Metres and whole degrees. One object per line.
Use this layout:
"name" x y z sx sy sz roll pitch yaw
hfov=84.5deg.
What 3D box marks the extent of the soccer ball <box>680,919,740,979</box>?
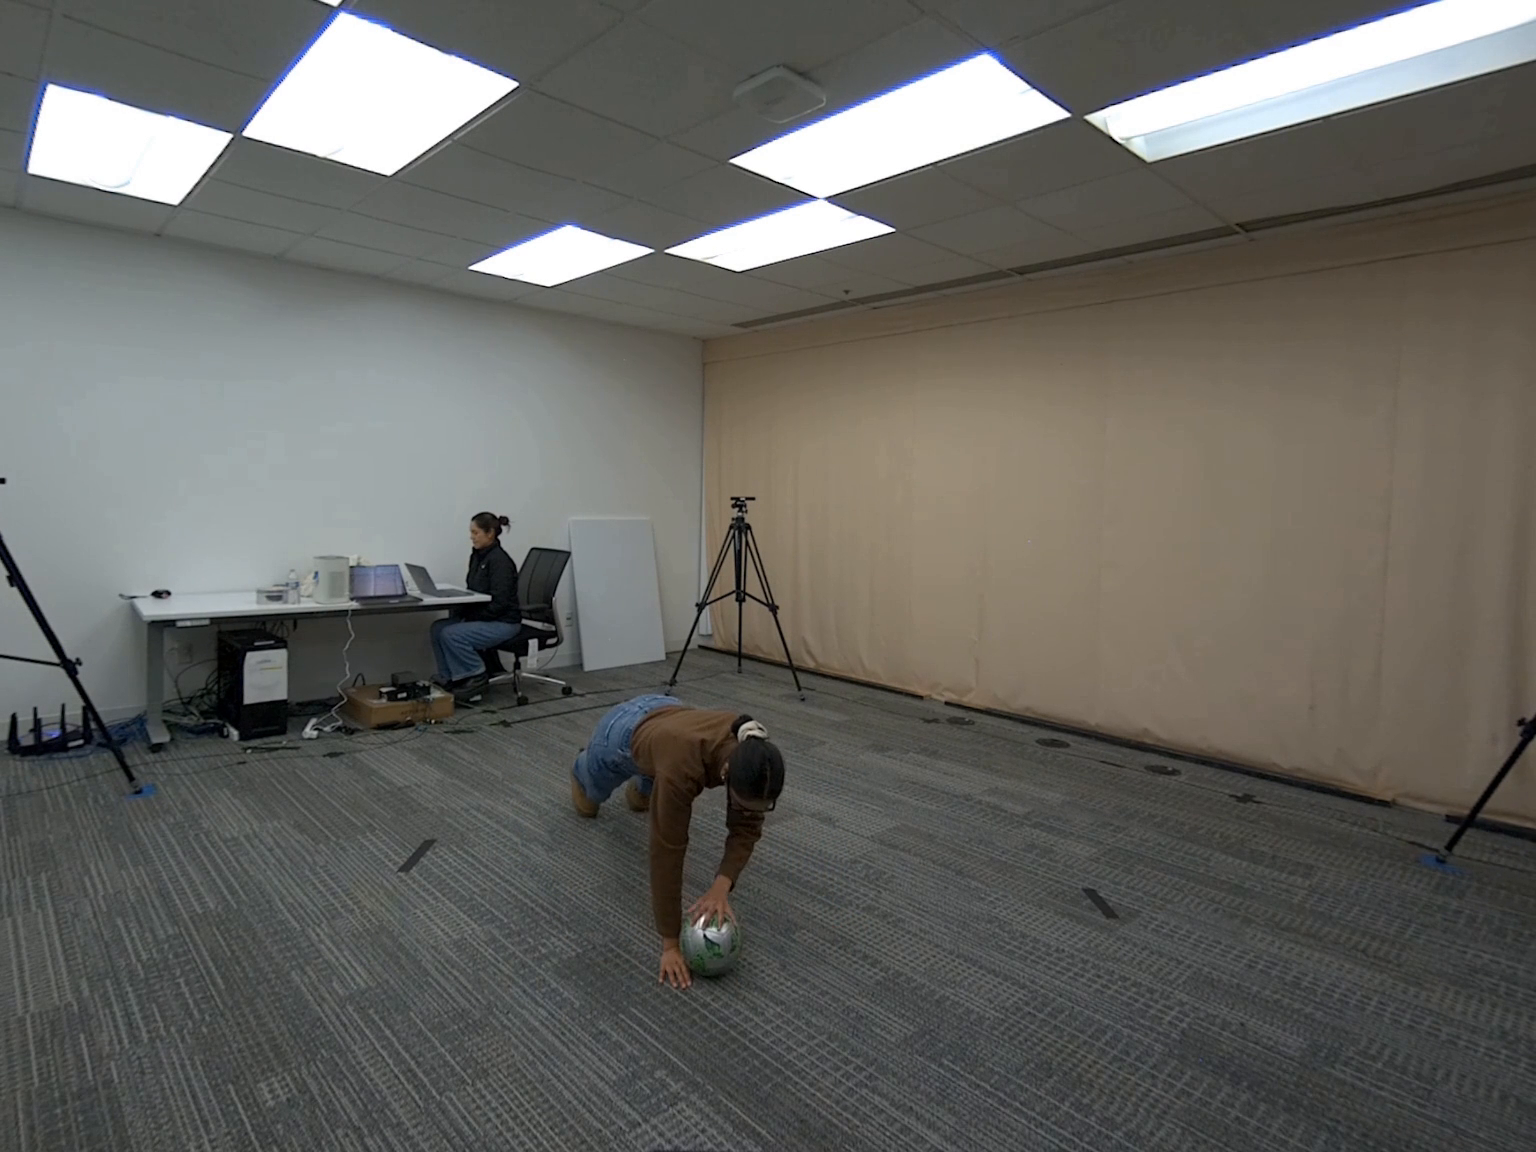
"soccer ball" -0.170 1.080 2.464 0.187 0.187 0.188 1 4 -1
